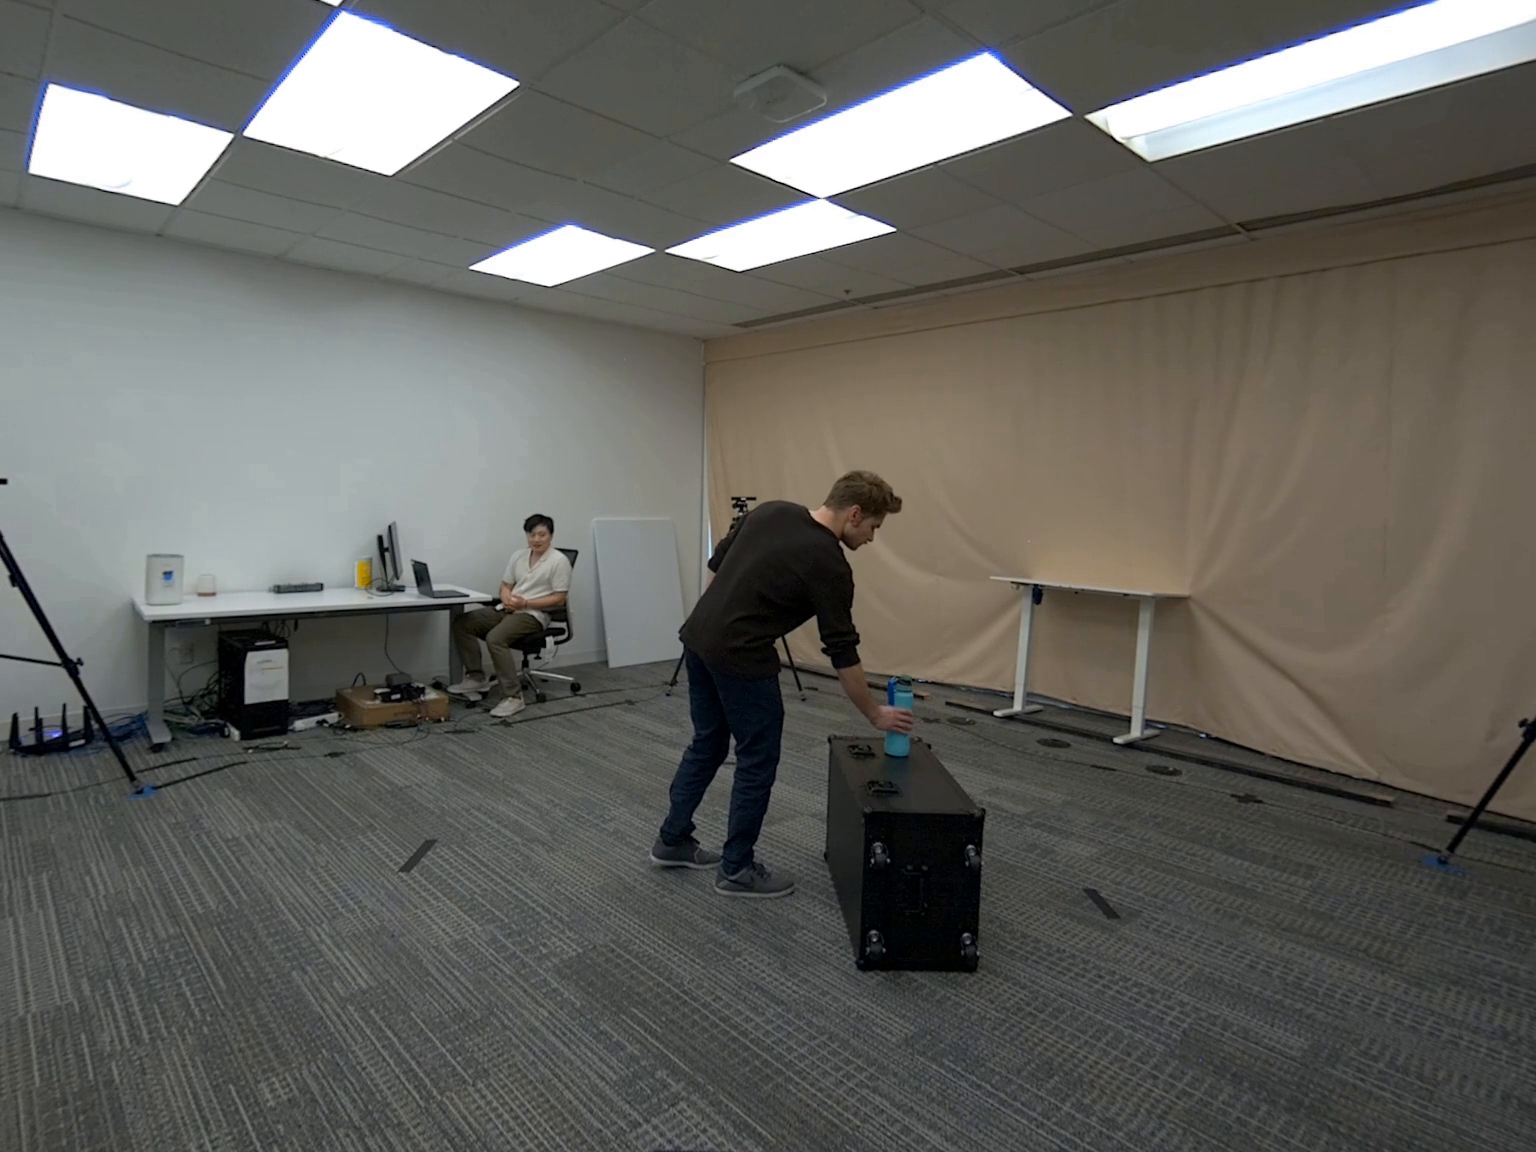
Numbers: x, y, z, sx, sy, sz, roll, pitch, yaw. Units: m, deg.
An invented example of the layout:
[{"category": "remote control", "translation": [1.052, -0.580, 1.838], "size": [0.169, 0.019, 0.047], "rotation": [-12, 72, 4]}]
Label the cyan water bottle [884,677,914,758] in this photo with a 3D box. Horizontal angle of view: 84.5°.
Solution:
[{"category": "cyan water bottle", "translation": [0.467, 0.494, 3.044], "size": [0.092, 0.283, 0.092], "rotation": [2, 1, -1]}]
